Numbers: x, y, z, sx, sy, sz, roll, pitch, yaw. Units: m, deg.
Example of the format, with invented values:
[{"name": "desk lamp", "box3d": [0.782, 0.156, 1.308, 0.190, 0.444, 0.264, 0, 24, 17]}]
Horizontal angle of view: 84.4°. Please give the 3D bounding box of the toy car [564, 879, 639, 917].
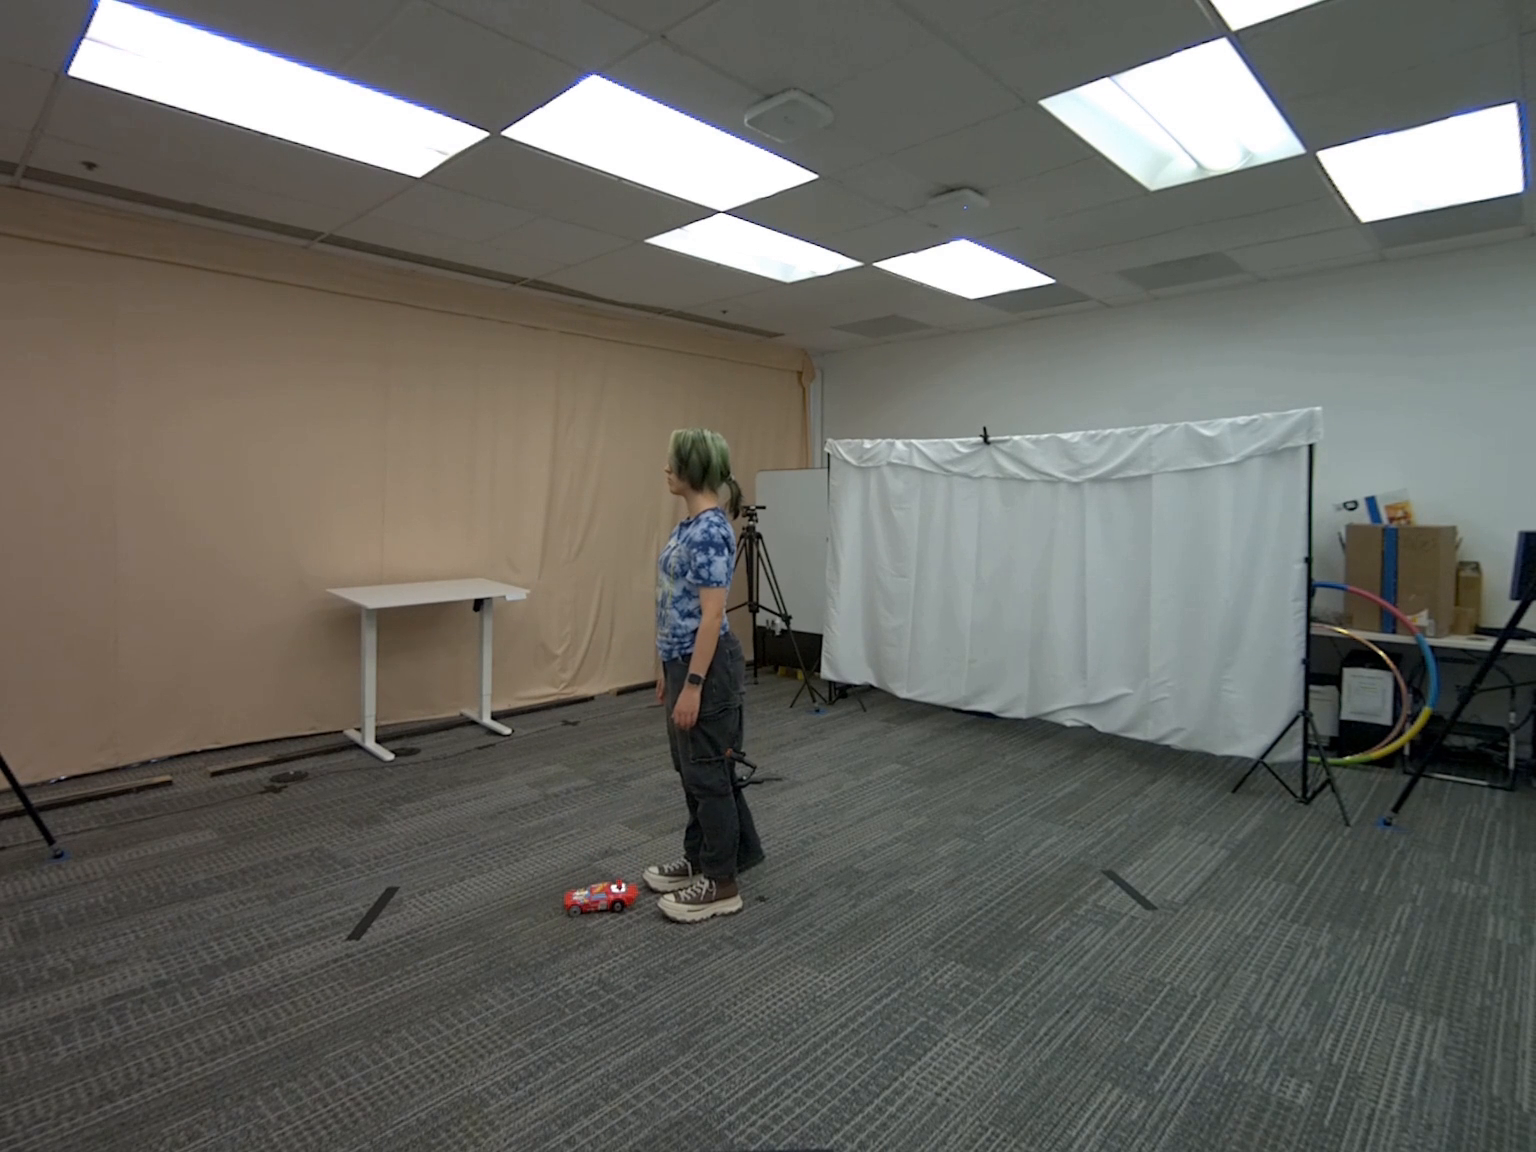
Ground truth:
[{"name": "toy car", "box3d": [-0.582, 1.123, 2.928, 0.252, 0.083, 0.132, -11, 5, -9]}]
